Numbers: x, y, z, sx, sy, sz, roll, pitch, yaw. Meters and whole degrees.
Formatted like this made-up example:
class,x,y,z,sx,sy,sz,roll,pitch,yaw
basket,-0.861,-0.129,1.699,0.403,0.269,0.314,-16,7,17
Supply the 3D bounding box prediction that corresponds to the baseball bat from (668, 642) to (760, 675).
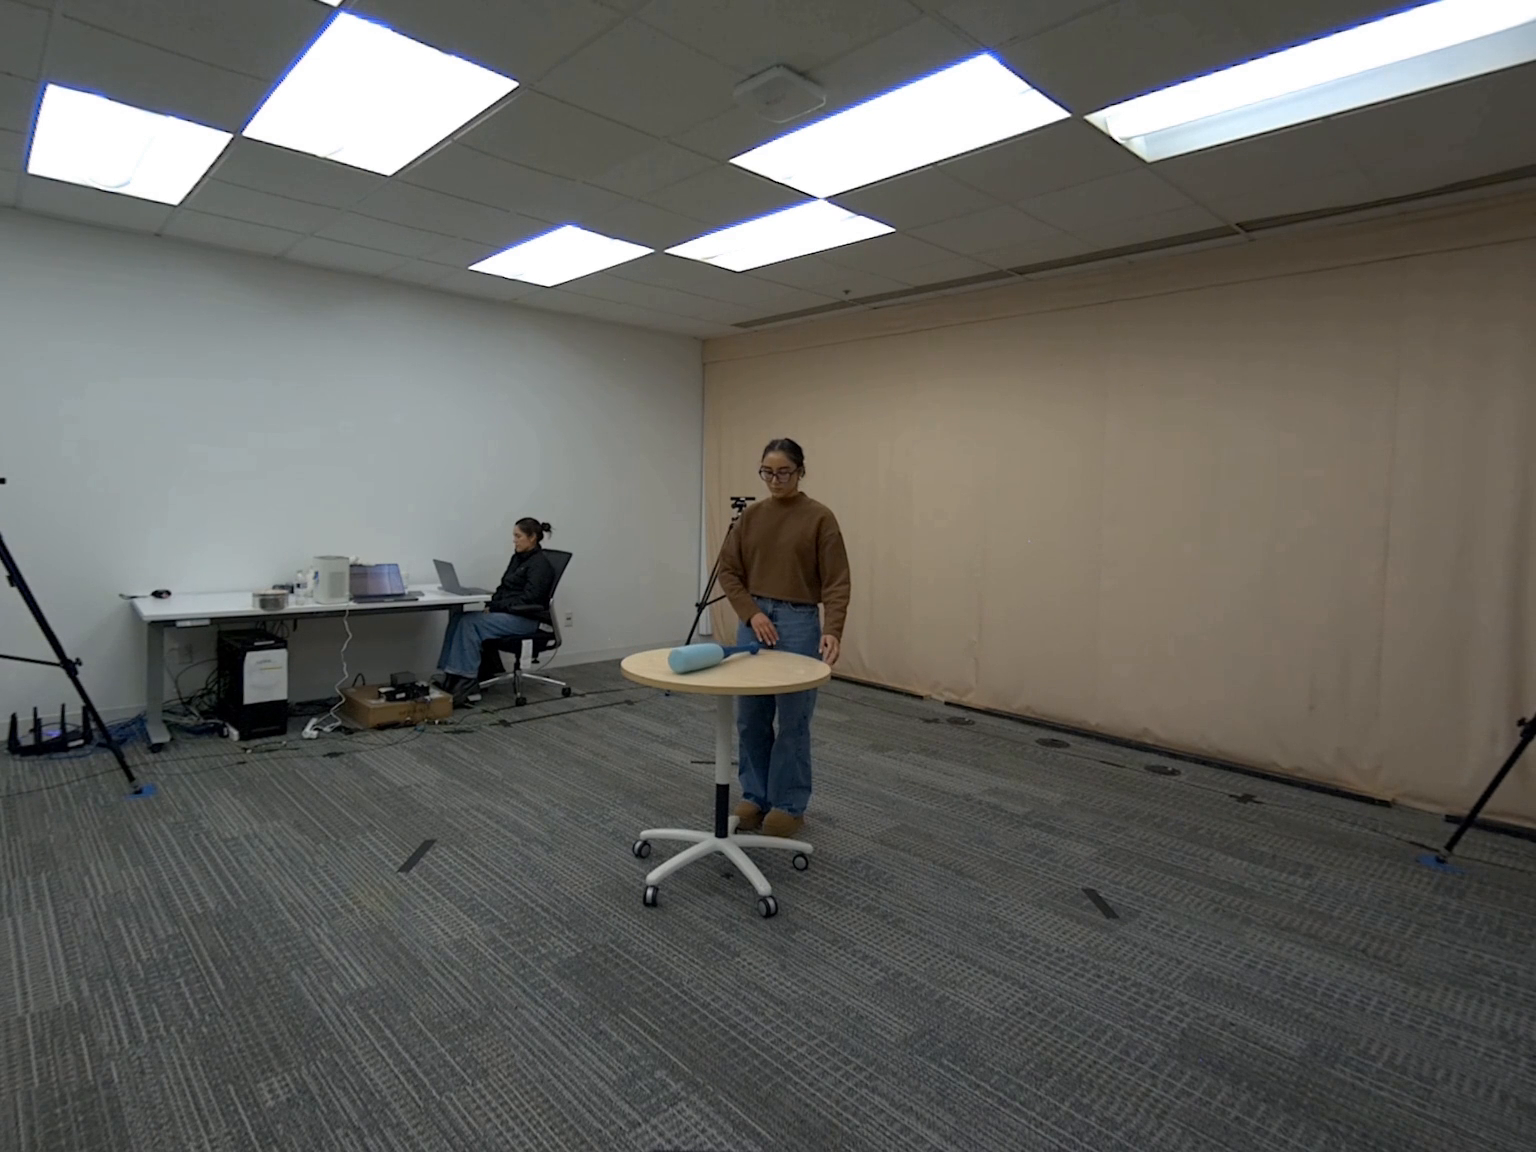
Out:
class,x,y,z,sx,sy,sz,roll,pitch,yaw
baseball bat,-0.186,0.289,3.092,0.091,0.089,0.532,4,3,28
